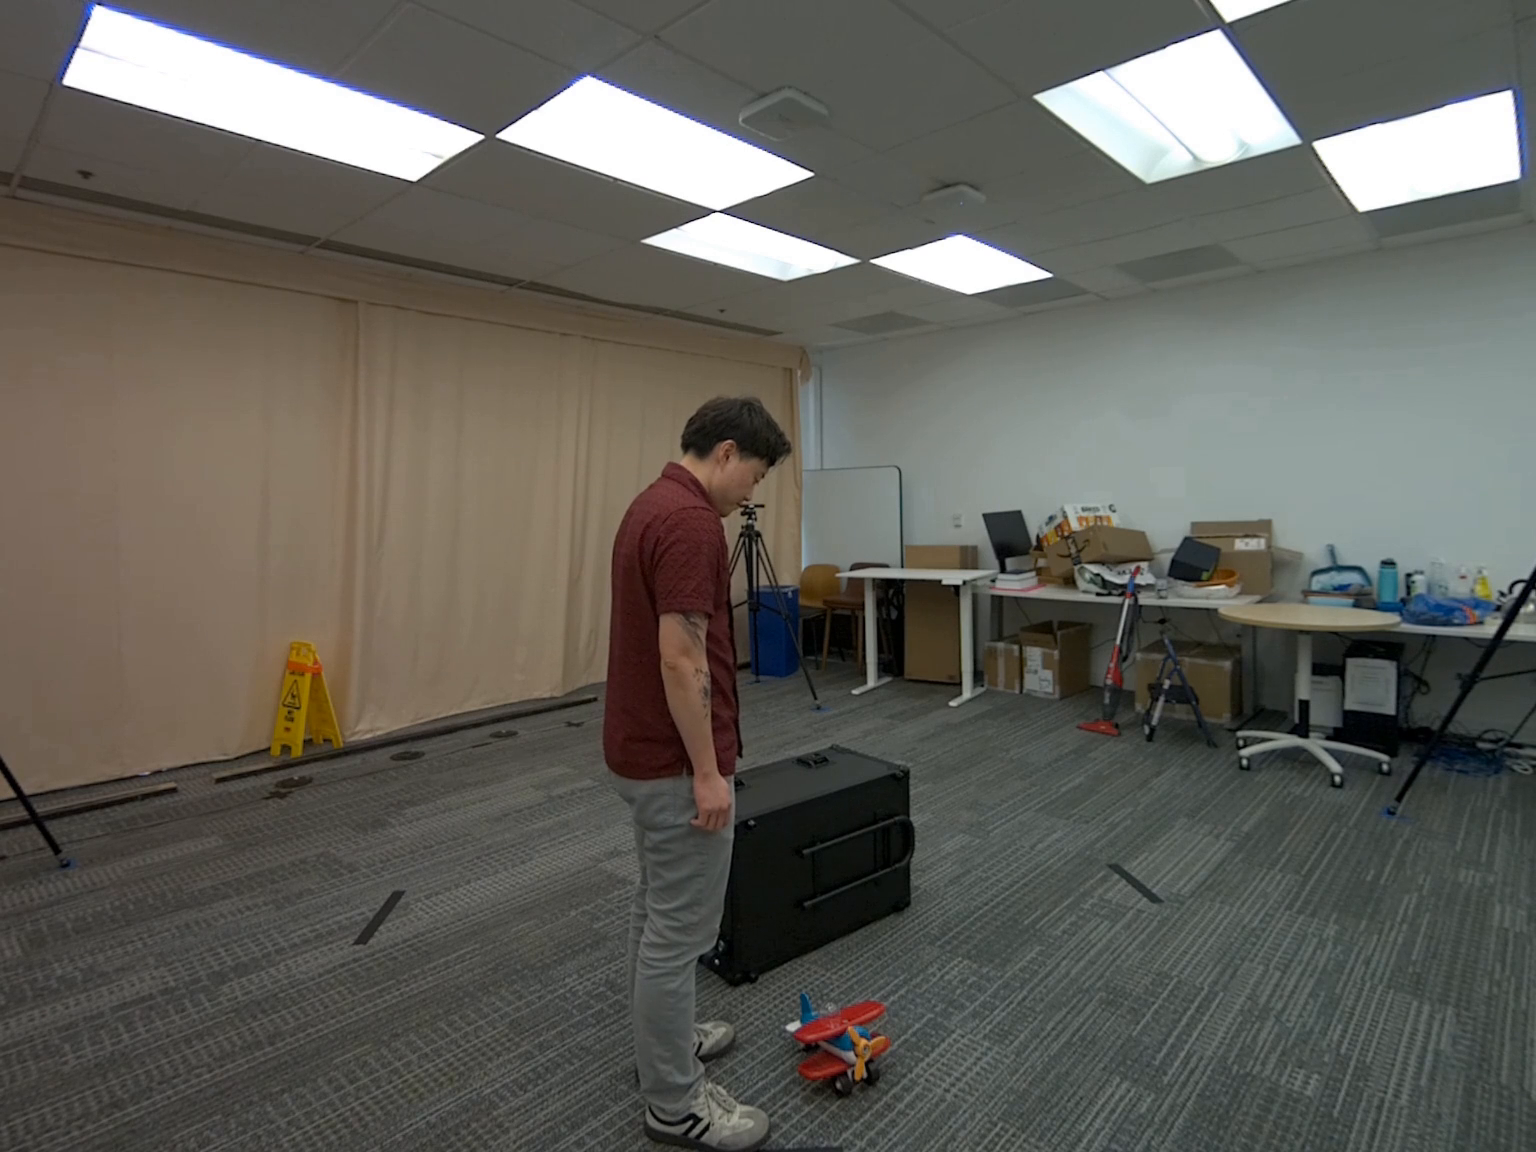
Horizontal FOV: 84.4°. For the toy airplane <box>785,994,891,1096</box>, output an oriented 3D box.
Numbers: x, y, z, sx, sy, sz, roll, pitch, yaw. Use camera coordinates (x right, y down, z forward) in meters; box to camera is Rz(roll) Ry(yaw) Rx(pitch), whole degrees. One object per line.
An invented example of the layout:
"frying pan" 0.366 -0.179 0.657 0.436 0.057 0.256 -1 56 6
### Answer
"toy airplane" 0.148 1.137 2.065 0.267 0.156 0.244 3 6 30
